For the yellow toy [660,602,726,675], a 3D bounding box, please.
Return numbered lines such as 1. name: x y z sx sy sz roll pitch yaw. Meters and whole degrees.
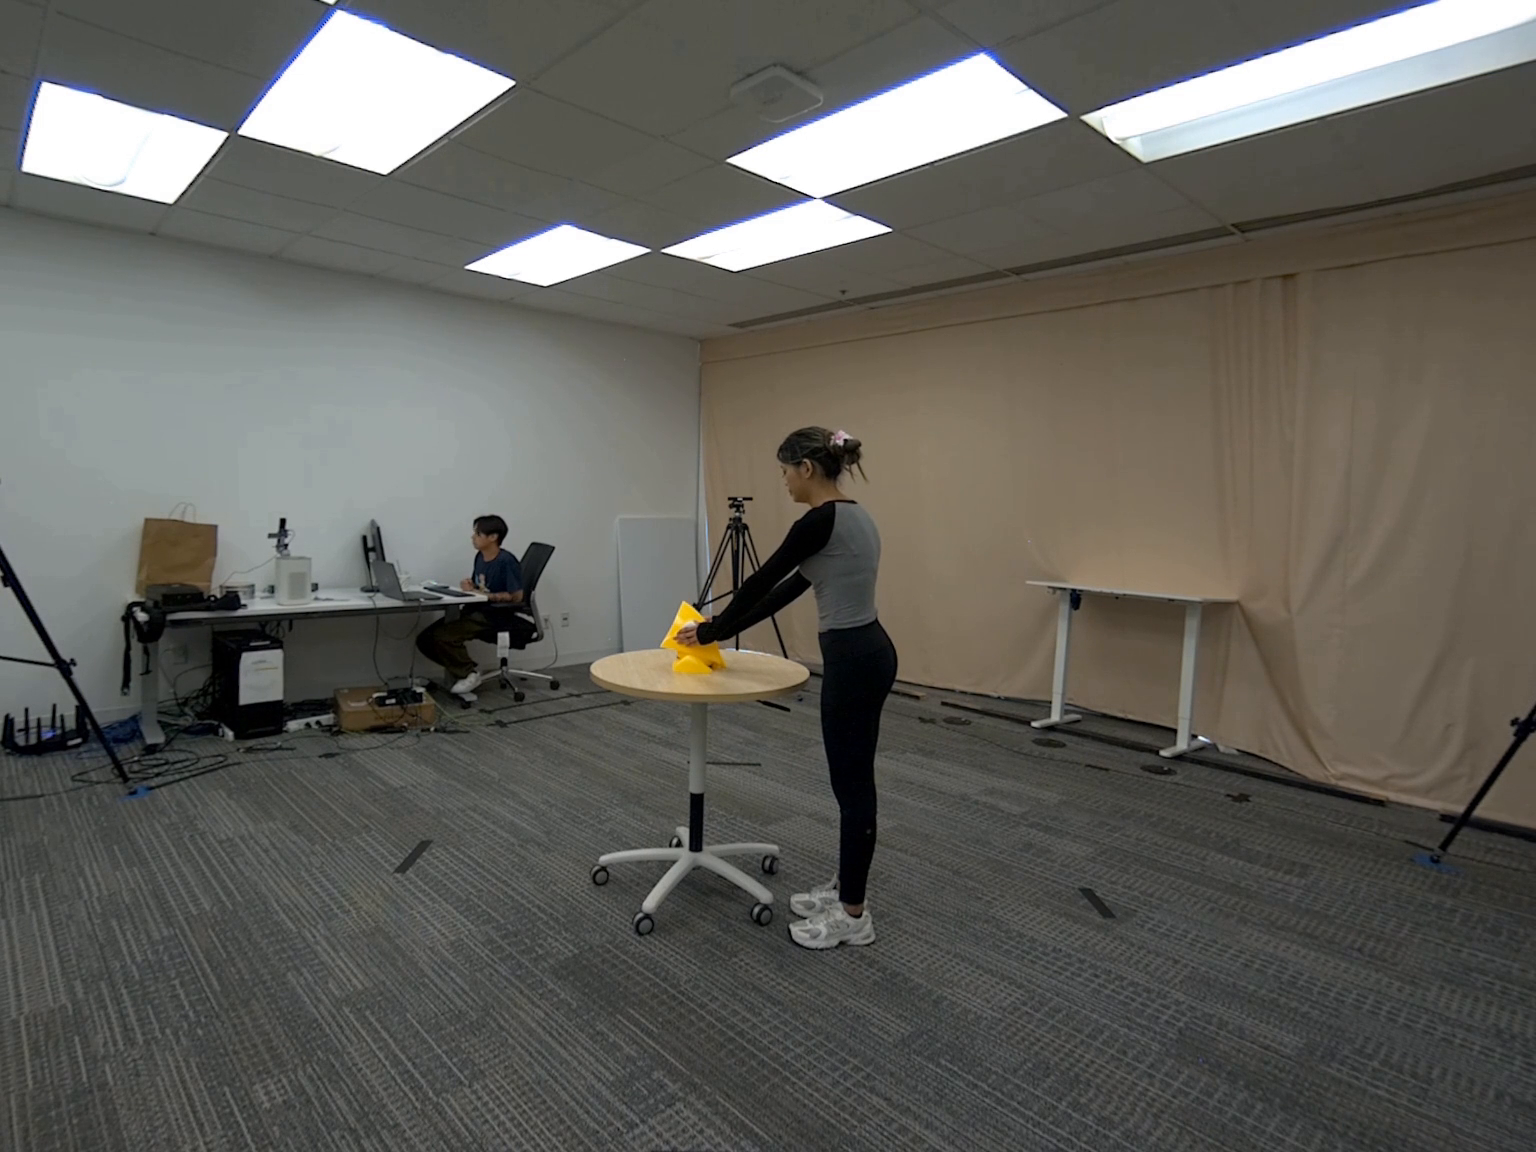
1. yellow toy: -0.256 0.210 2.966 0.197 0.230 0.201 4 5 24
